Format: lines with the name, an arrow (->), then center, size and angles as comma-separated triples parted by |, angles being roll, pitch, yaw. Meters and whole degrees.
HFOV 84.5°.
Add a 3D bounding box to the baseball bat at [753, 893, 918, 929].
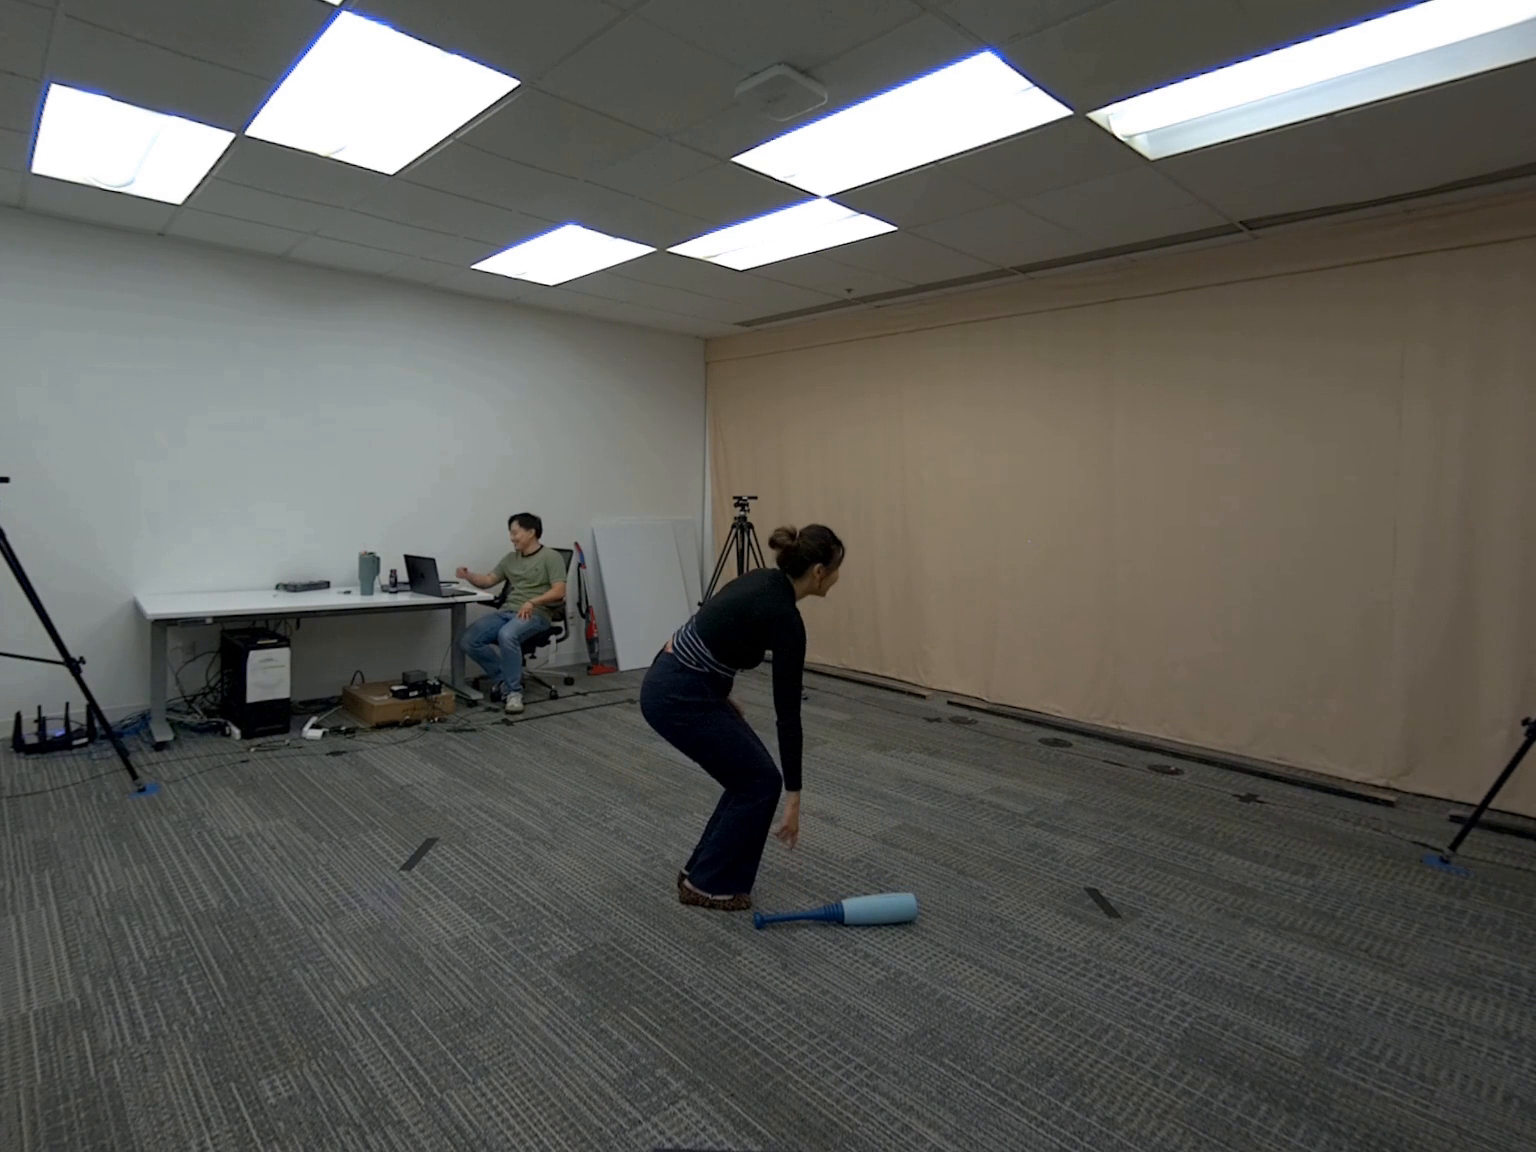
baseball bat -> 0.219, 1.108, 2.755 | 0.540, 0.089, 0.090 | -2, 5, -7
